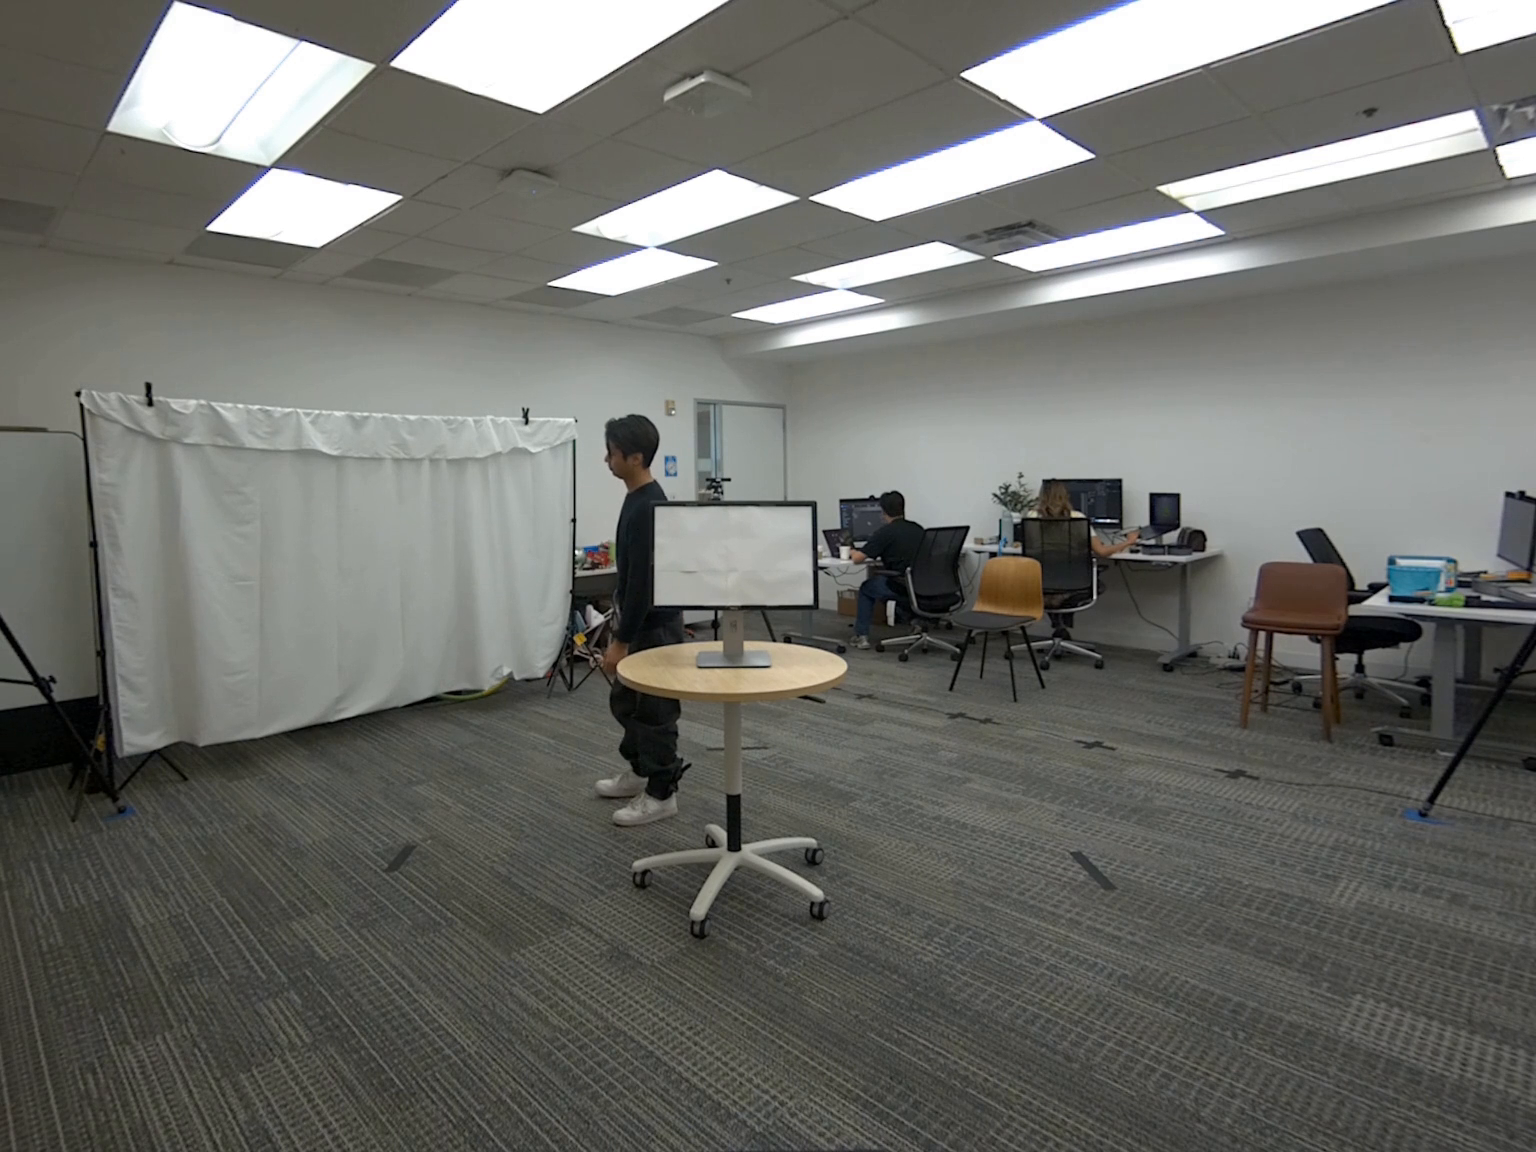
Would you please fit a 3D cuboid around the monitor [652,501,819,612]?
[{"bbox_3d":[-0.117,0.030,2.878,0.538,0.521,0.188,-2,4,-2],"label":"monitor"}]
